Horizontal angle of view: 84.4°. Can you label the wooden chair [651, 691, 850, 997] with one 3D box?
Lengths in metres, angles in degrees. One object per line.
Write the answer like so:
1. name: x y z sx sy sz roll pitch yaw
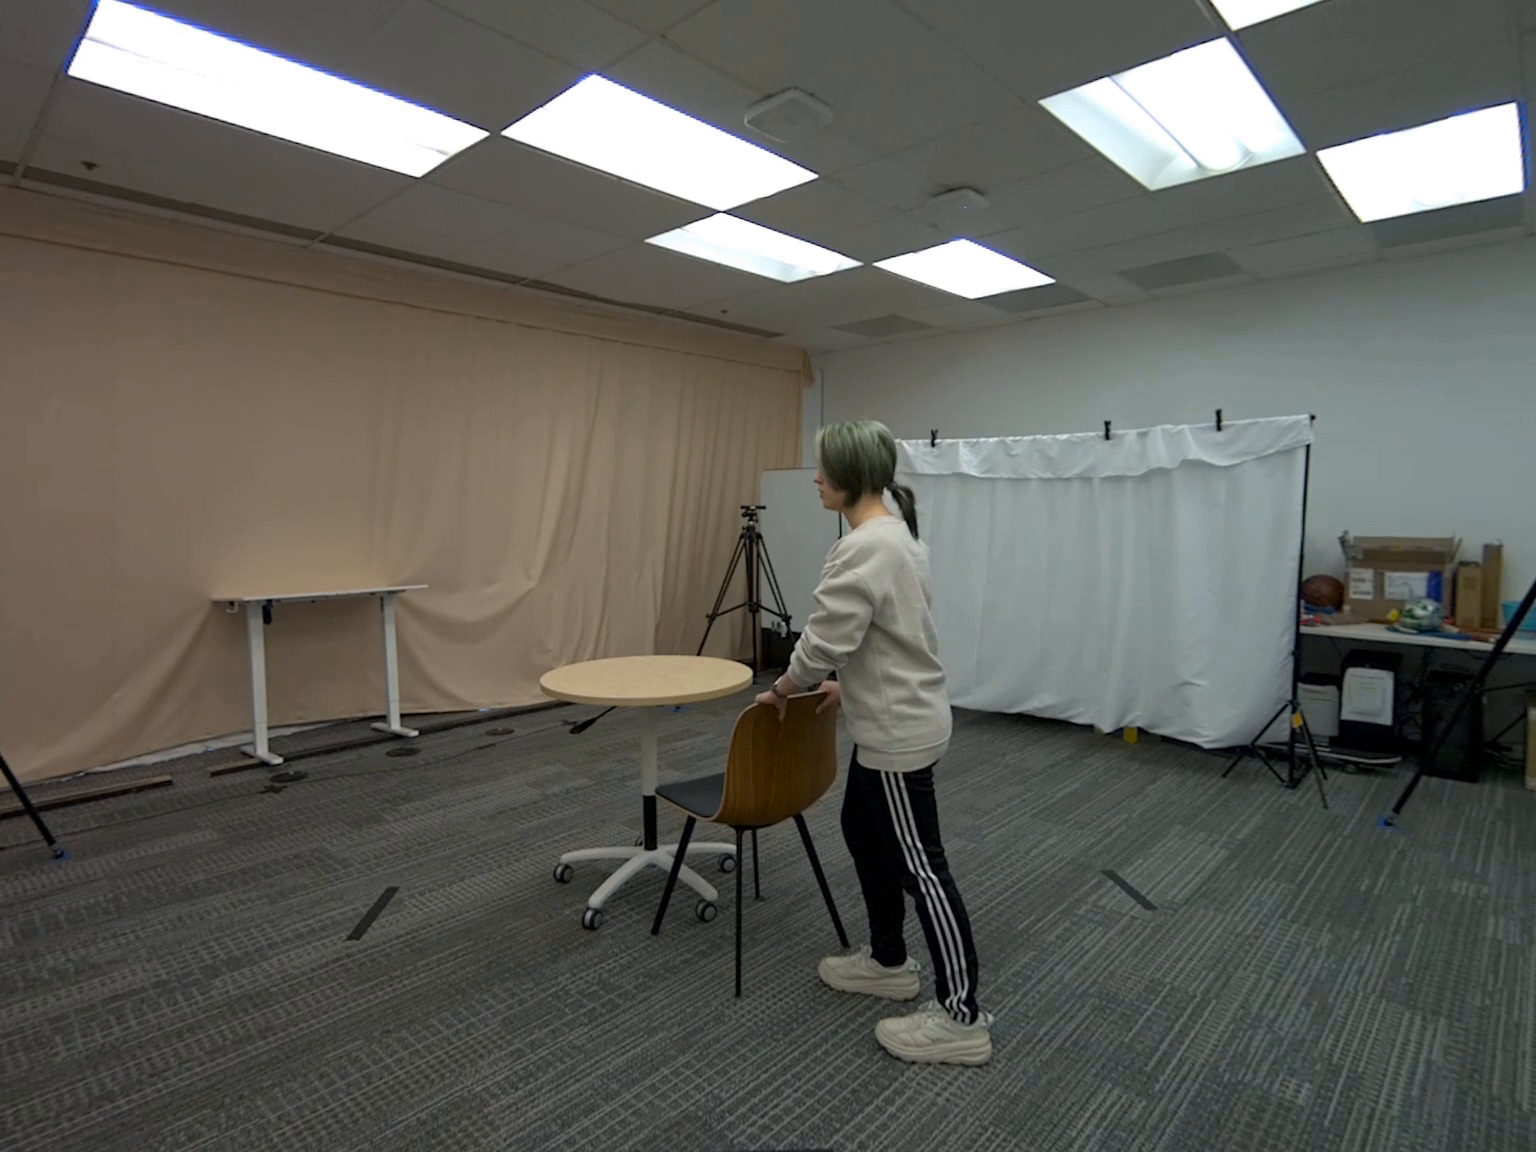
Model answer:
1. wooden chair: -0.069 0.744 2.674 0.464 0.874 0.541 -3 8 -39
